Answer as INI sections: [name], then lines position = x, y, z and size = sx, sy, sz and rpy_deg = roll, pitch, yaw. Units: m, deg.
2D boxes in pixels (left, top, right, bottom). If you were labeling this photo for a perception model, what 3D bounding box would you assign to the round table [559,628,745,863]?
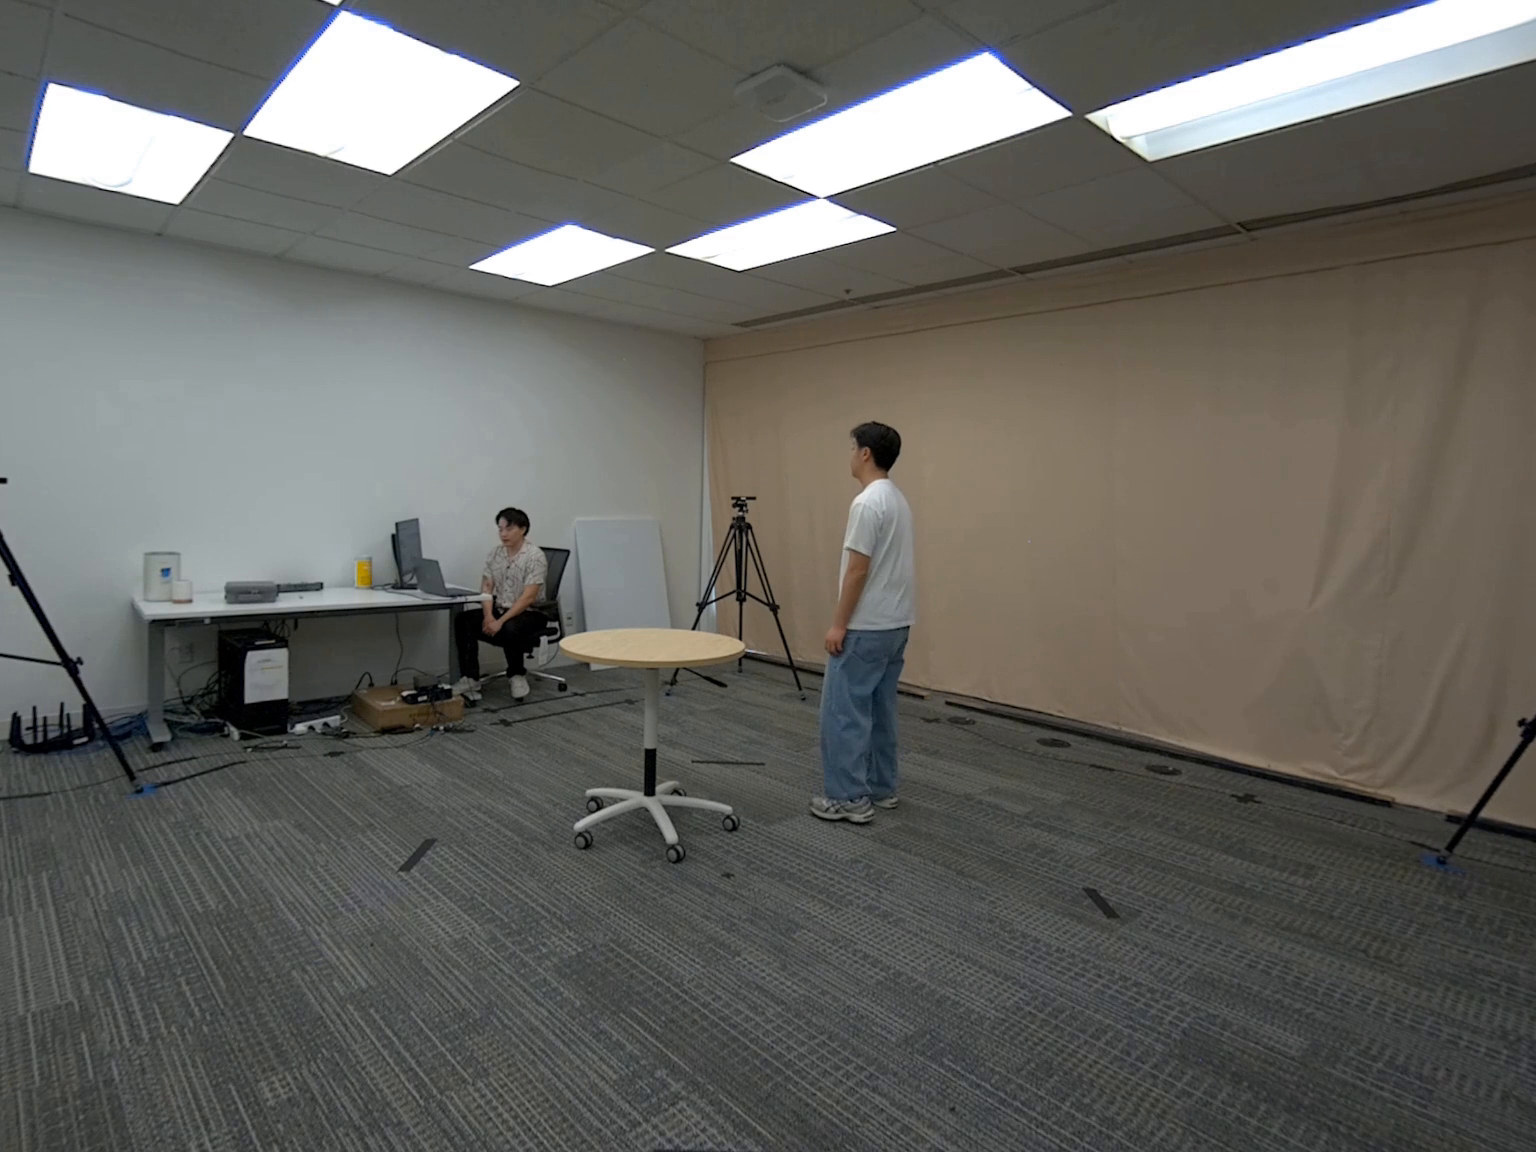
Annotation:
[round table]
position = -0.495, 0.673, 3.509
size = 0.763, 0.792, 0.766
rpy_deg = 1, 4, -1
